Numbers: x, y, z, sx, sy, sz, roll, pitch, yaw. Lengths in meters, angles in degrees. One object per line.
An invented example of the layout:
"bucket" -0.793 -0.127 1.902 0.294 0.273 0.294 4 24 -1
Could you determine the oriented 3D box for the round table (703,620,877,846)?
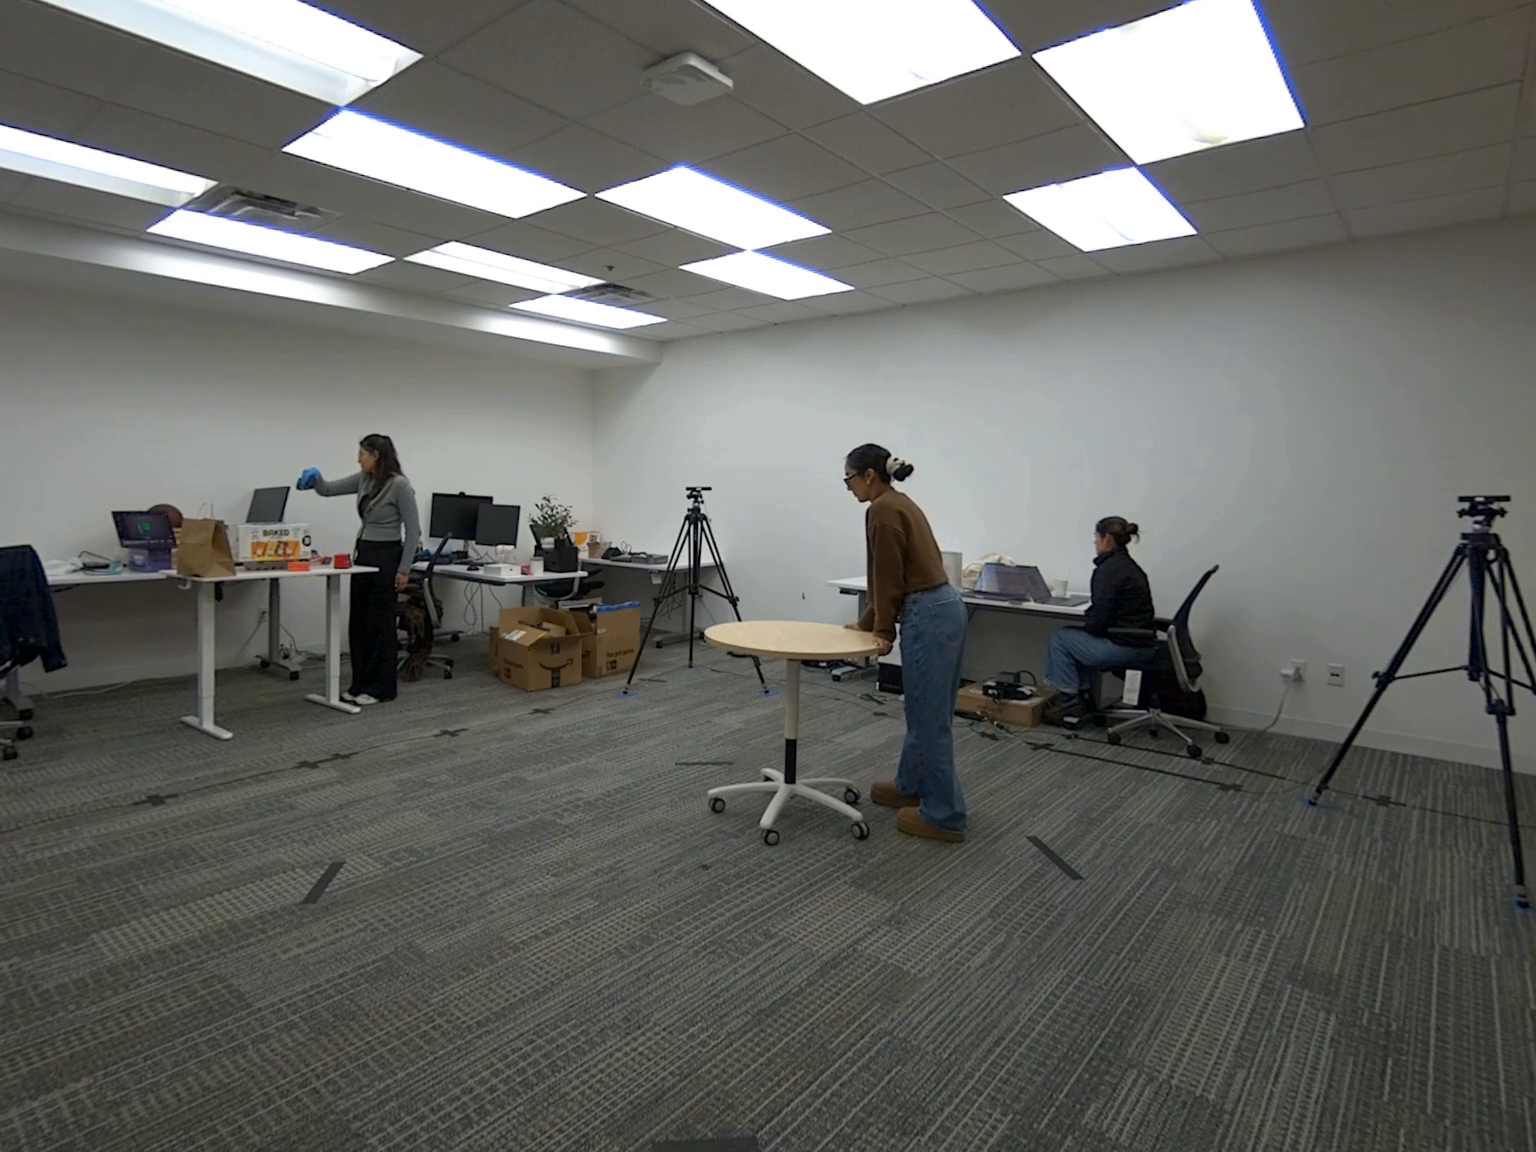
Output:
"round table" 0.099 0.638 3.630 0.763 0.791 0.768 2 4 -2
